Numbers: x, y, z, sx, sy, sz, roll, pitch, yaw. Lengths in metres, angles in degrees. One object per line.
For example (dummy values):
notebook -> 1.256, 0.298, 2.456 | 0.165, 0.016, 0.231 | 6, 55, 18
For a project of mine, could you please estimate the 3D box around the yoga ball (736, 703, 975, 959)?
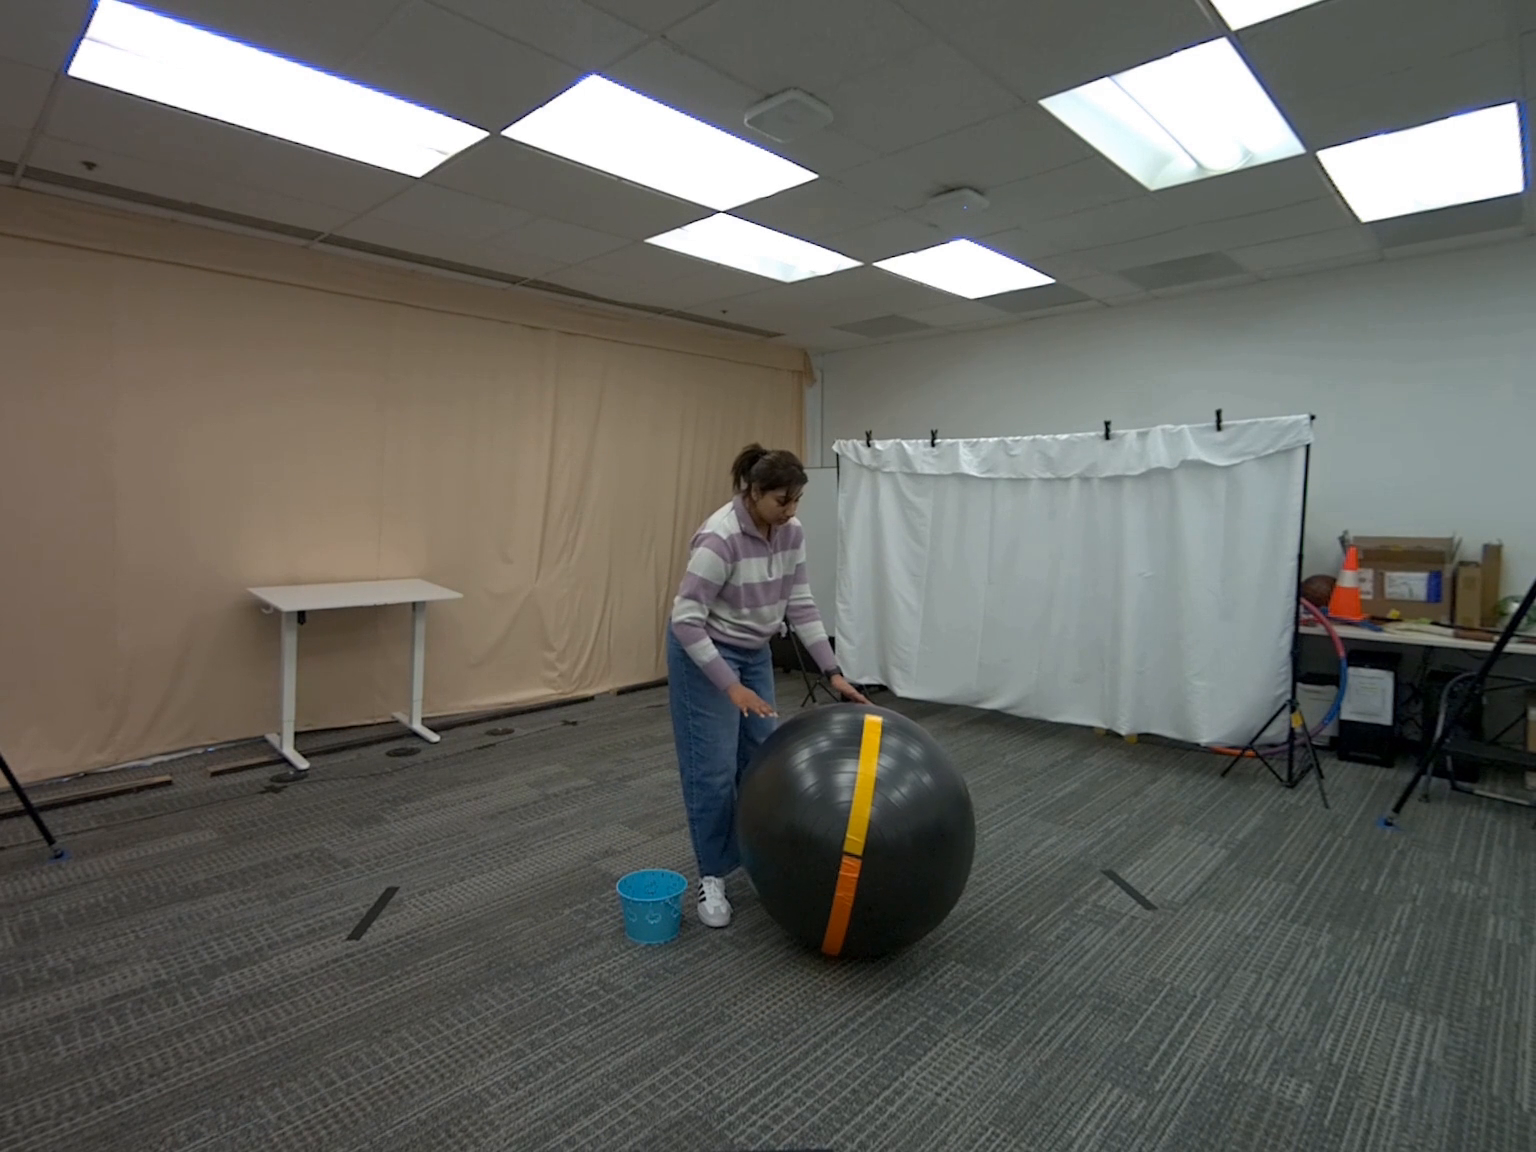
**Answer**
yoga ball -> 0.279, 0.801, 2.679 | 0.757, 0.756, 0.760 | 0, 4, -2
